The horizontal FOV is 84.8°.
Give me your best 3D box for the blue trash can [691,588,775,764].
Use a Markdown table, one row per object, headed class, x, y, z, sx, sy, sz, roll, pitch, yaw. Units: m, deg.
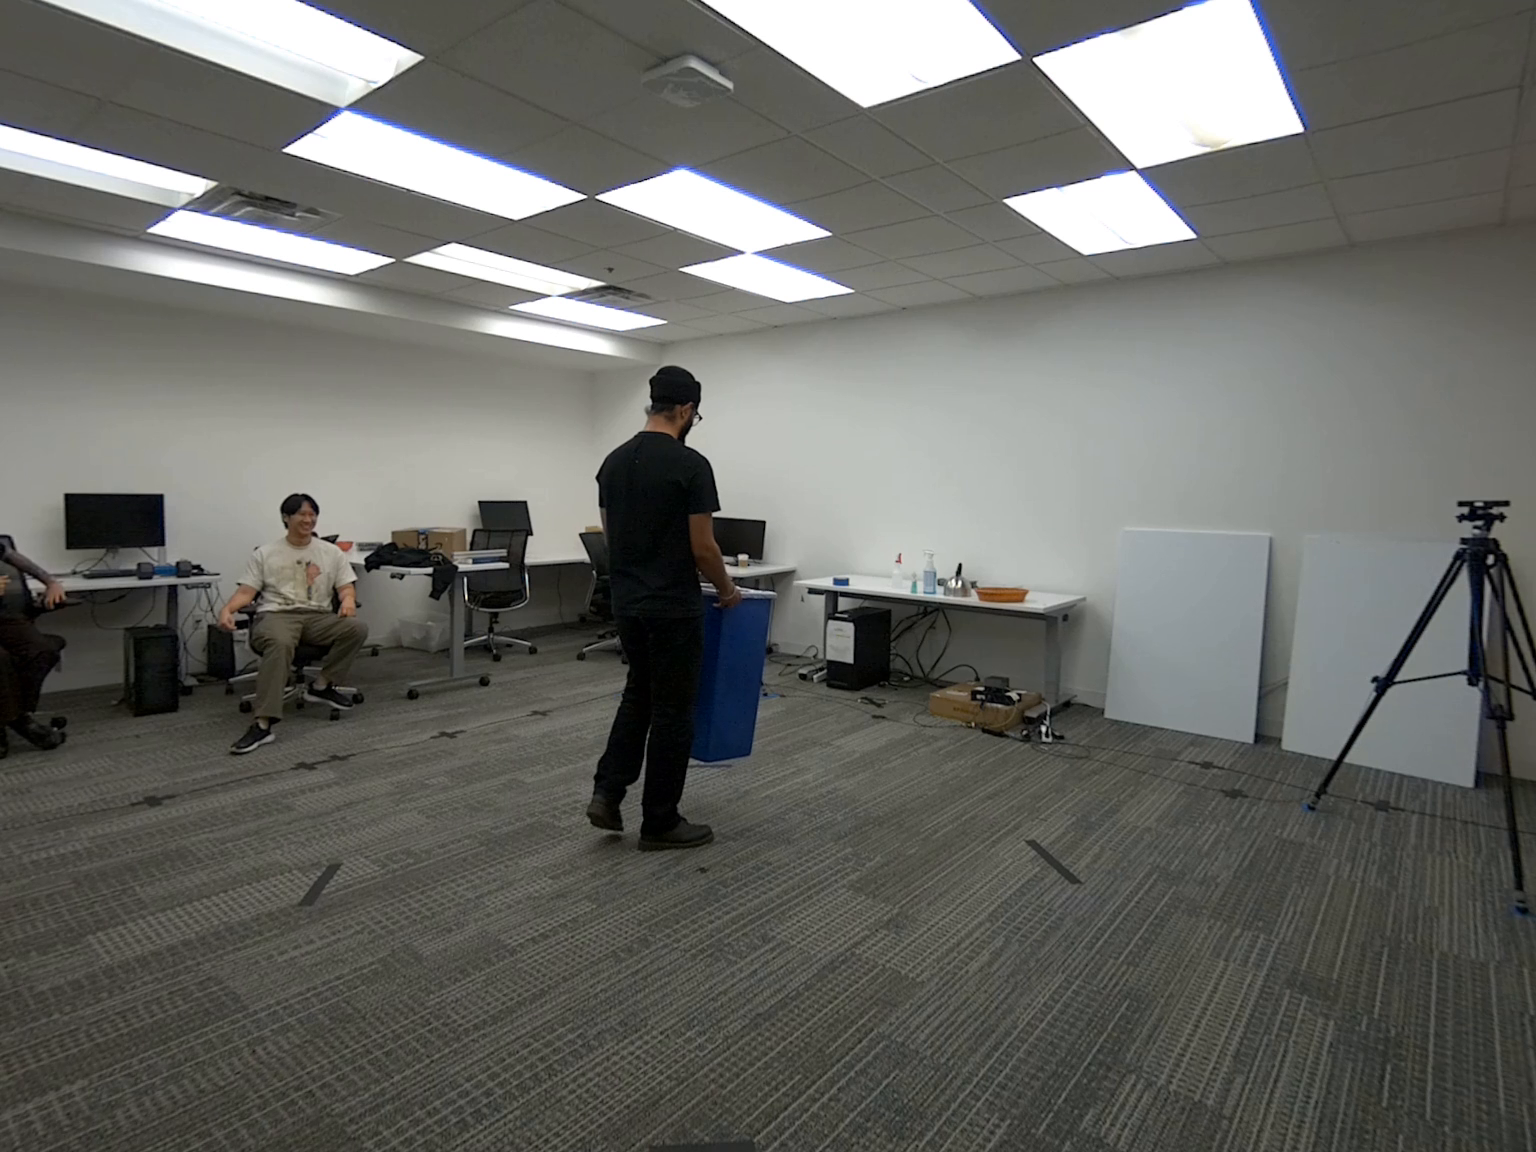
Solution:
| class | x | y | z | sx | sy | sz | roll | pitch | yaw |
| --- | --- | --- | --- | --- | --- | --- | --- | --- | --- |
| blue trash can | -0.251 | 0.408 | 3.696 | 0.391 | 0.714 | 0.361 | 6 | -1 | 39 |
